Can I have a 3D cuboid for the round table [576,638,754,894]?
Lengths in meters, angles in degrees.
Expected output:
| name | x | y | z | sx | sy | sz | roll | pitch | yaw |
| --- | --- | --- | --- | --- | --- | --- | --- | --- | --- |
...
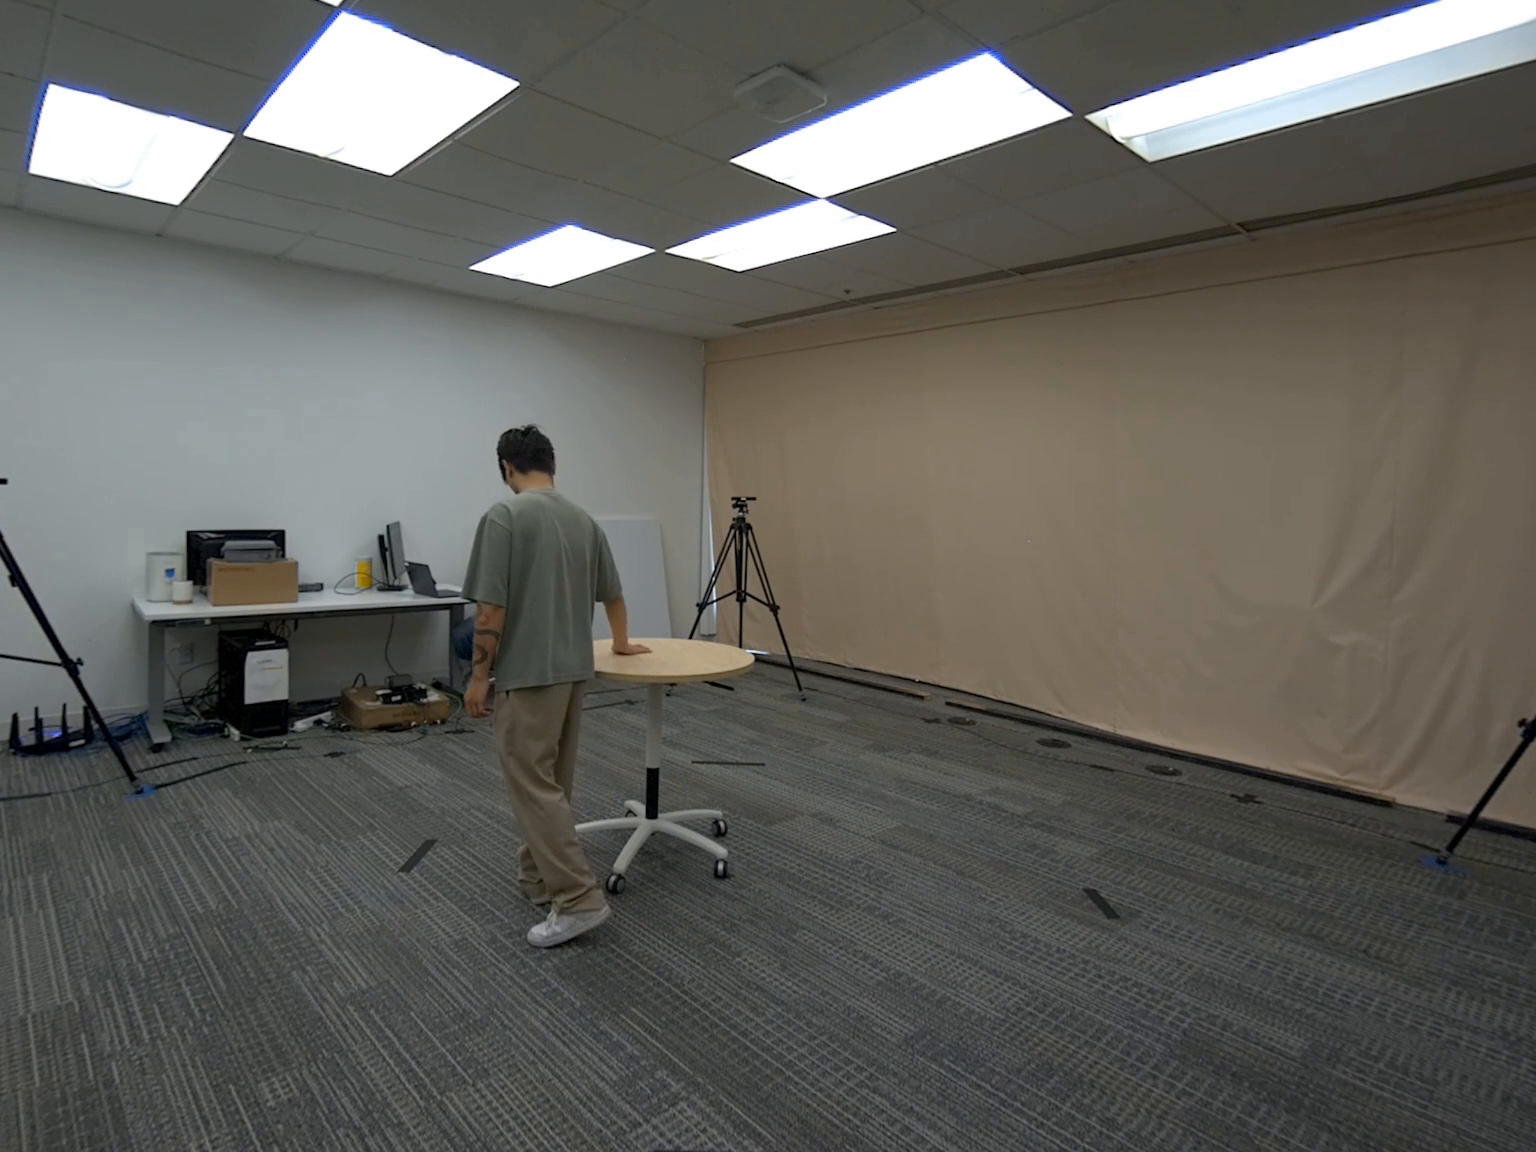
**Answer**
| name | x | y | z | sx | sy | sz | roll | pitch | yaw |
| --- | --- | --- | --- | --- | --- | --- | --- | --- | --- |
| round table | -0.455 | 0.698 | 3.274 | 0.763 | 0.792 | 0.766 | 2 | 4 | -1 |
